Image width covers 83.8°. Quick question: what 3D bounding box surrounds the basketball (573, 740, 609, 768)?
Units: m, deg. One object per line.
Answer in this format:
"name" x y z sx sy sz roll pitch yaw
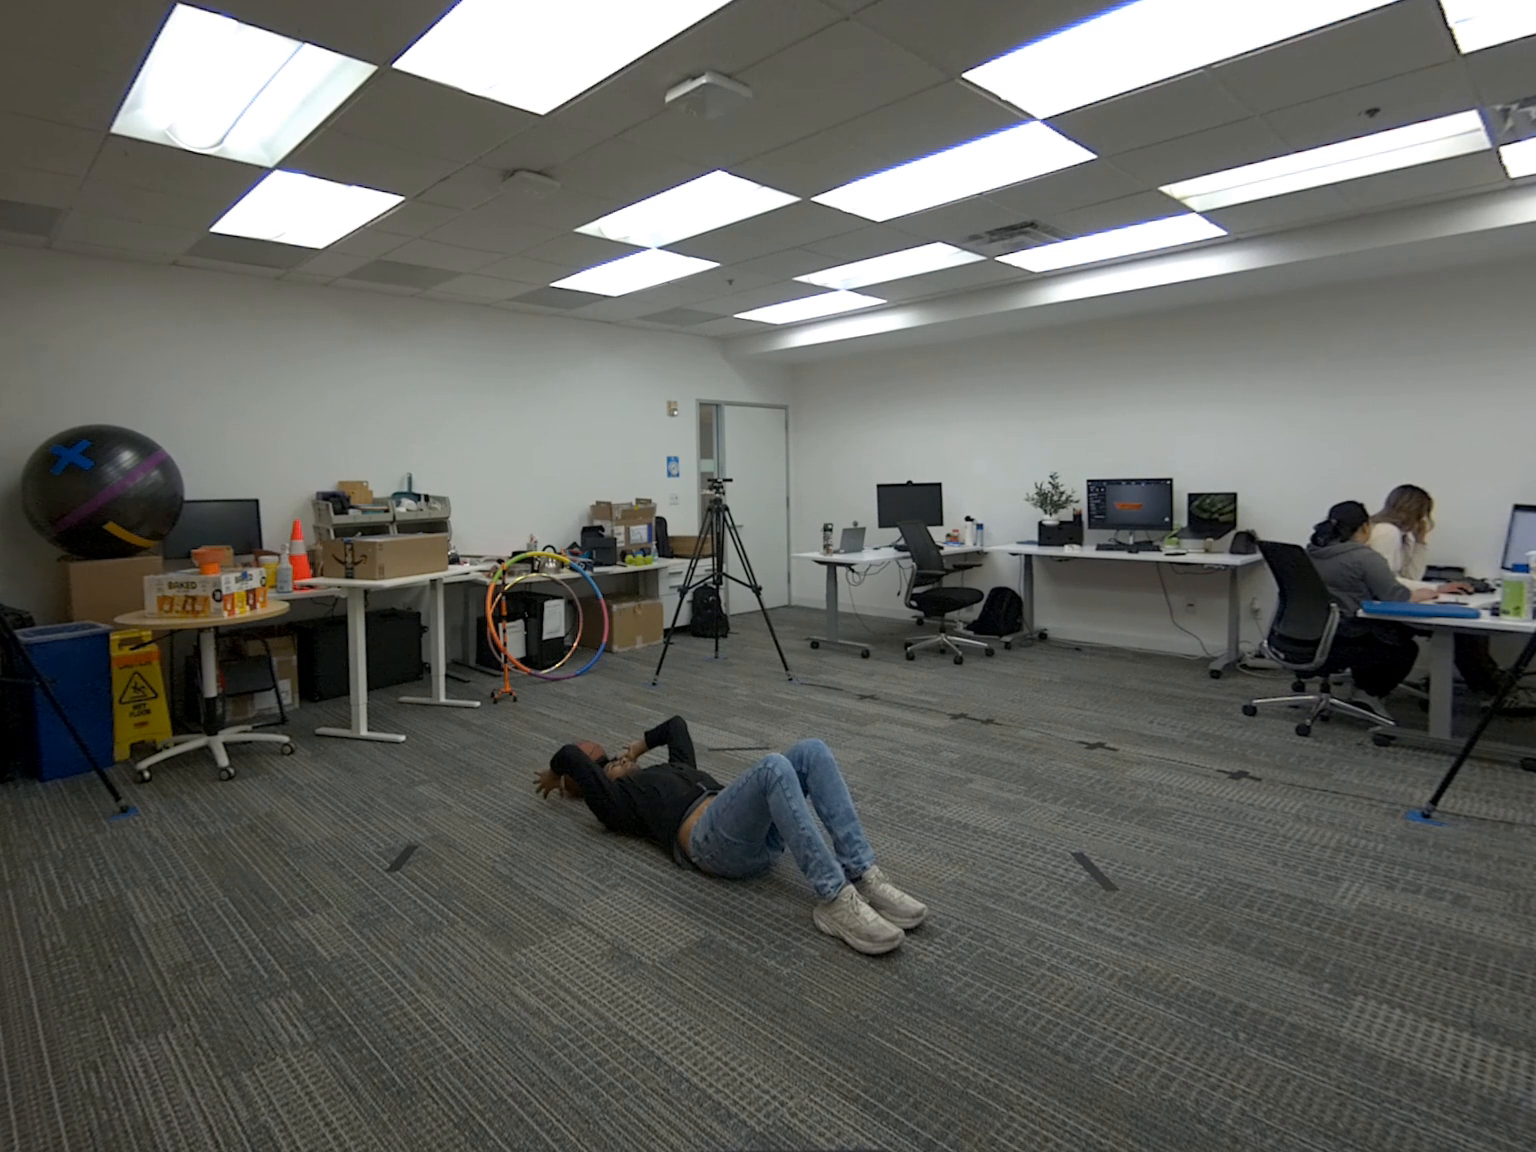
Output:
"basketball" -0.825 0.857 3.829 0.236 0.235 0.237 -1 5 -2
